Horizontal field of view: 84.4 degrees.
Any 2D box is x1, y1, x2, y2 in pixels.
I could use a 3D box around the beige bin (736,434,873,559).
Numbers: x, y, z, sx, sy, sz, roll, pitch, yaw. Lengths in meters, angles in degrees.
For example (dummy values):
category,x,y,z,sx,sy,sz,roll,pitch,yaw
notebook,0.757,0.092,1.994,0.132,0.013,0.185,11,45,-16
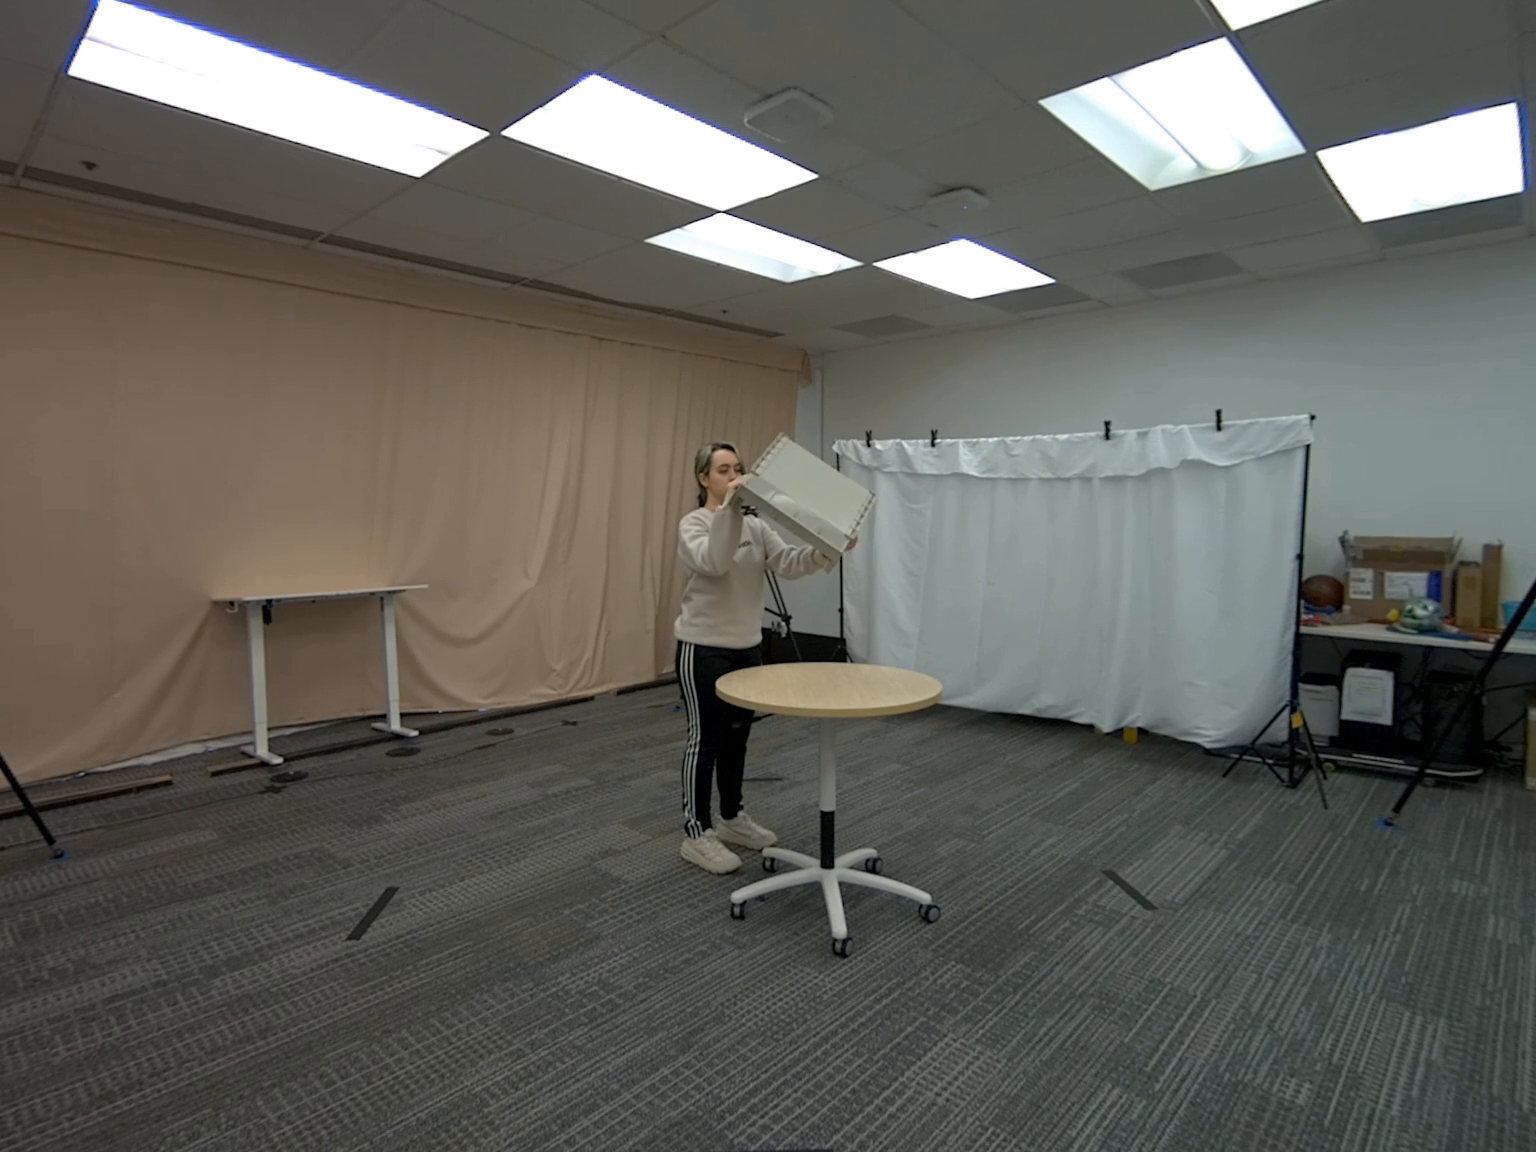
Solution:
category,x,y,z,sx,sy,sz,roll,pitch,yaw
beige bin,0.122,-0.251,2.948,0.424,0.189,0.376,33,41,2
